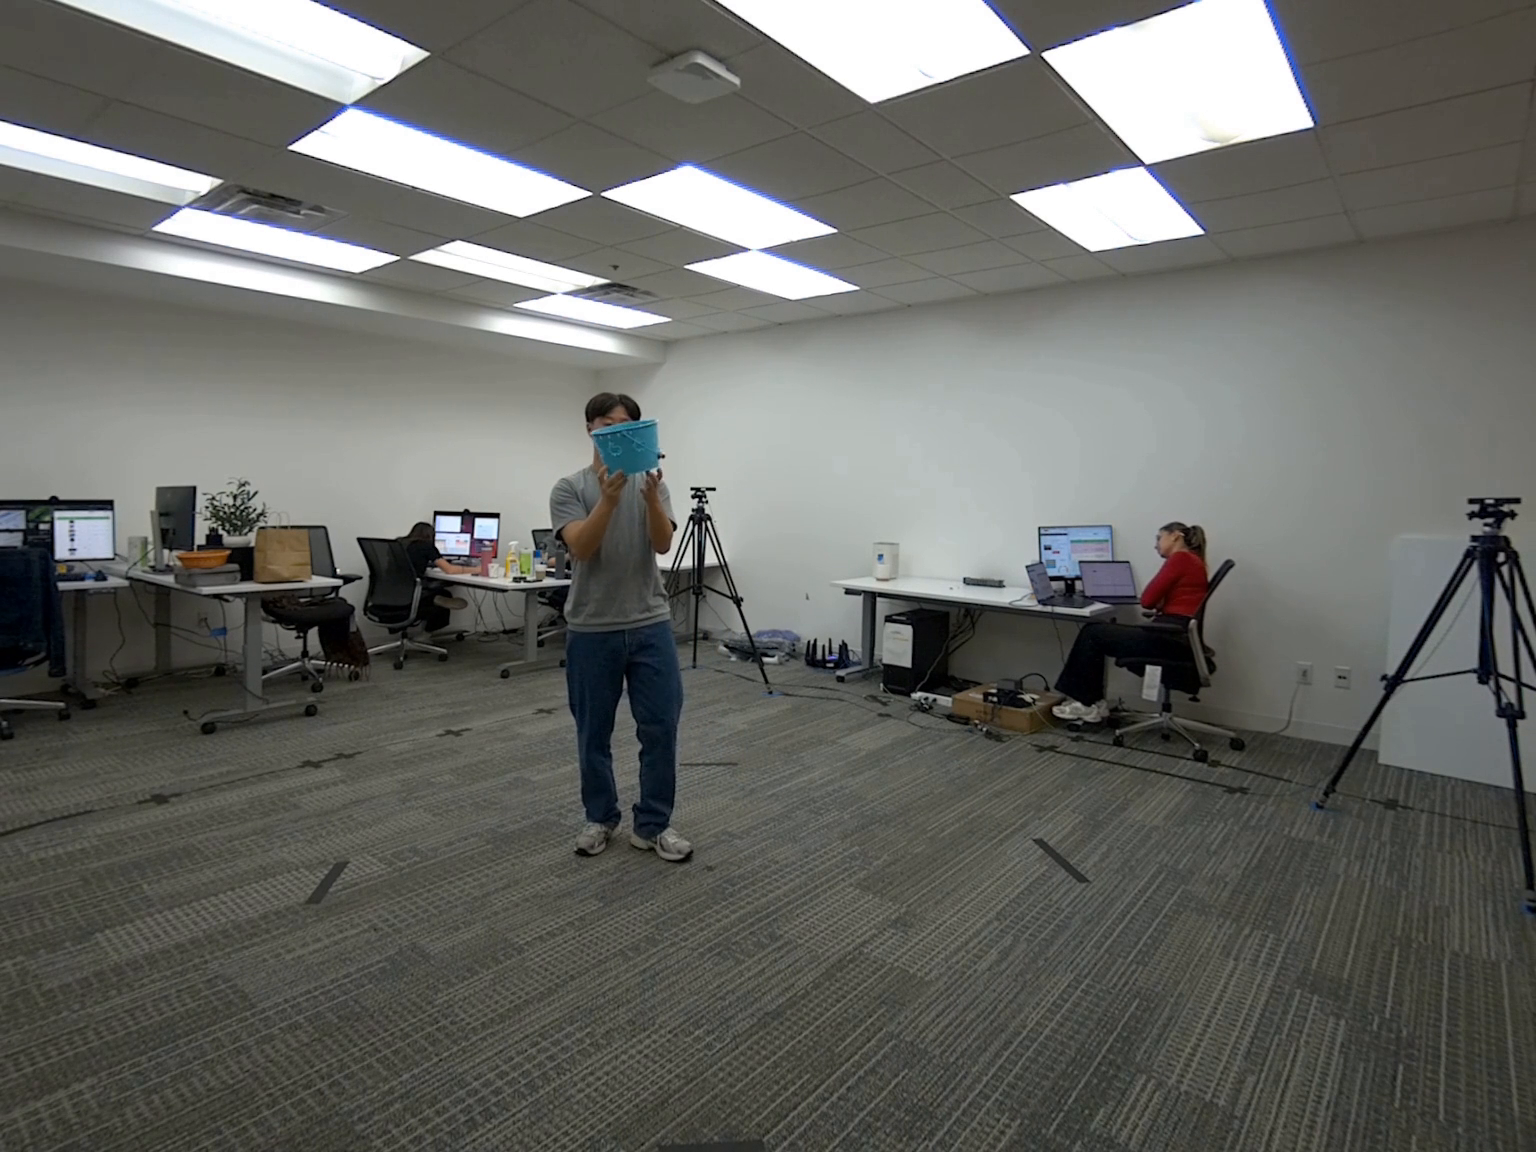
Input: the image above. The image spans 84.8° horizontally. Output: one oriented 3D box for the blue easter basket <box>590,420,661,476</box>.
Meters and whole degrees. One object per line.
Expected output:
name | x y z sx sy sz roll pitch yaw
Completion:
blue easter basket | -0.473 -0.434 2.876 0.244 0.153 0.247 -11 16 1
